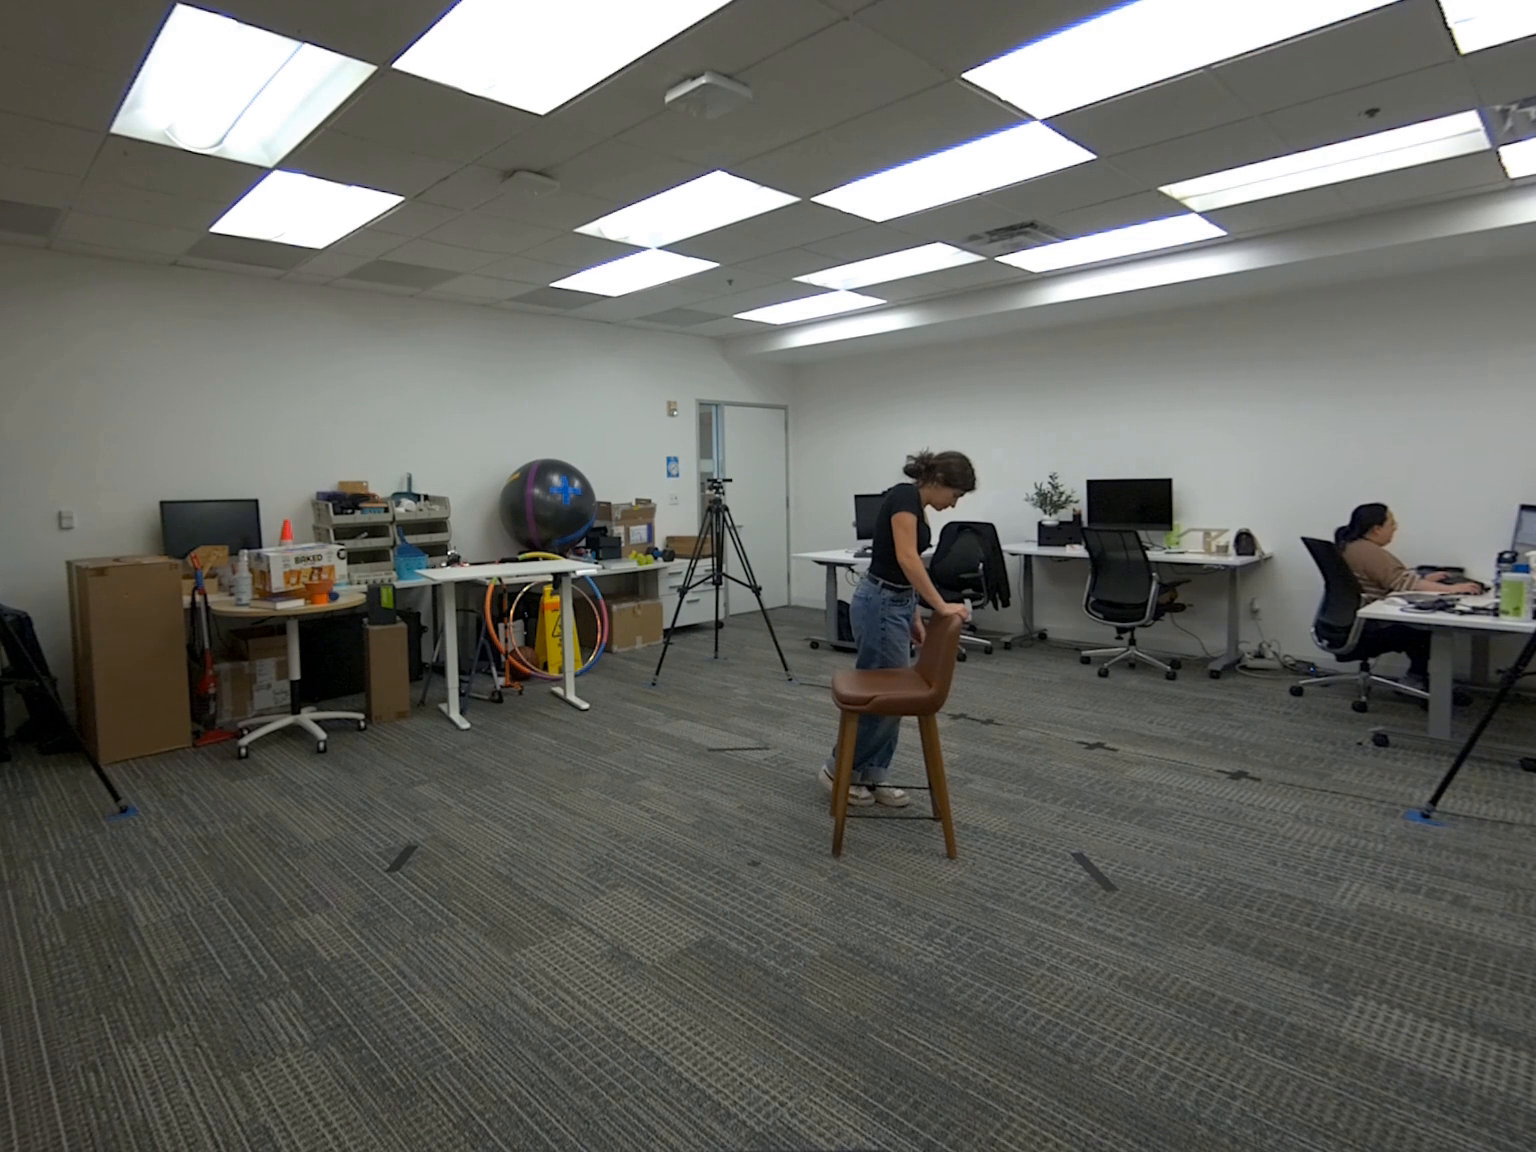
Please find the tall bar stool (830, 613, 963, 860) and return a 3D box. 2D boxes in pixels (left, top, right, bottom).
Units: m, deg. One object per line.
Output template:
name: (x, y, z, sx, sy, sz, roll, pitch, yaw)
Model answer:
tall bar stool: (0.482, 0.580, 3.293, 0.470, 0.887, 0.456, 2, 4, 4)
